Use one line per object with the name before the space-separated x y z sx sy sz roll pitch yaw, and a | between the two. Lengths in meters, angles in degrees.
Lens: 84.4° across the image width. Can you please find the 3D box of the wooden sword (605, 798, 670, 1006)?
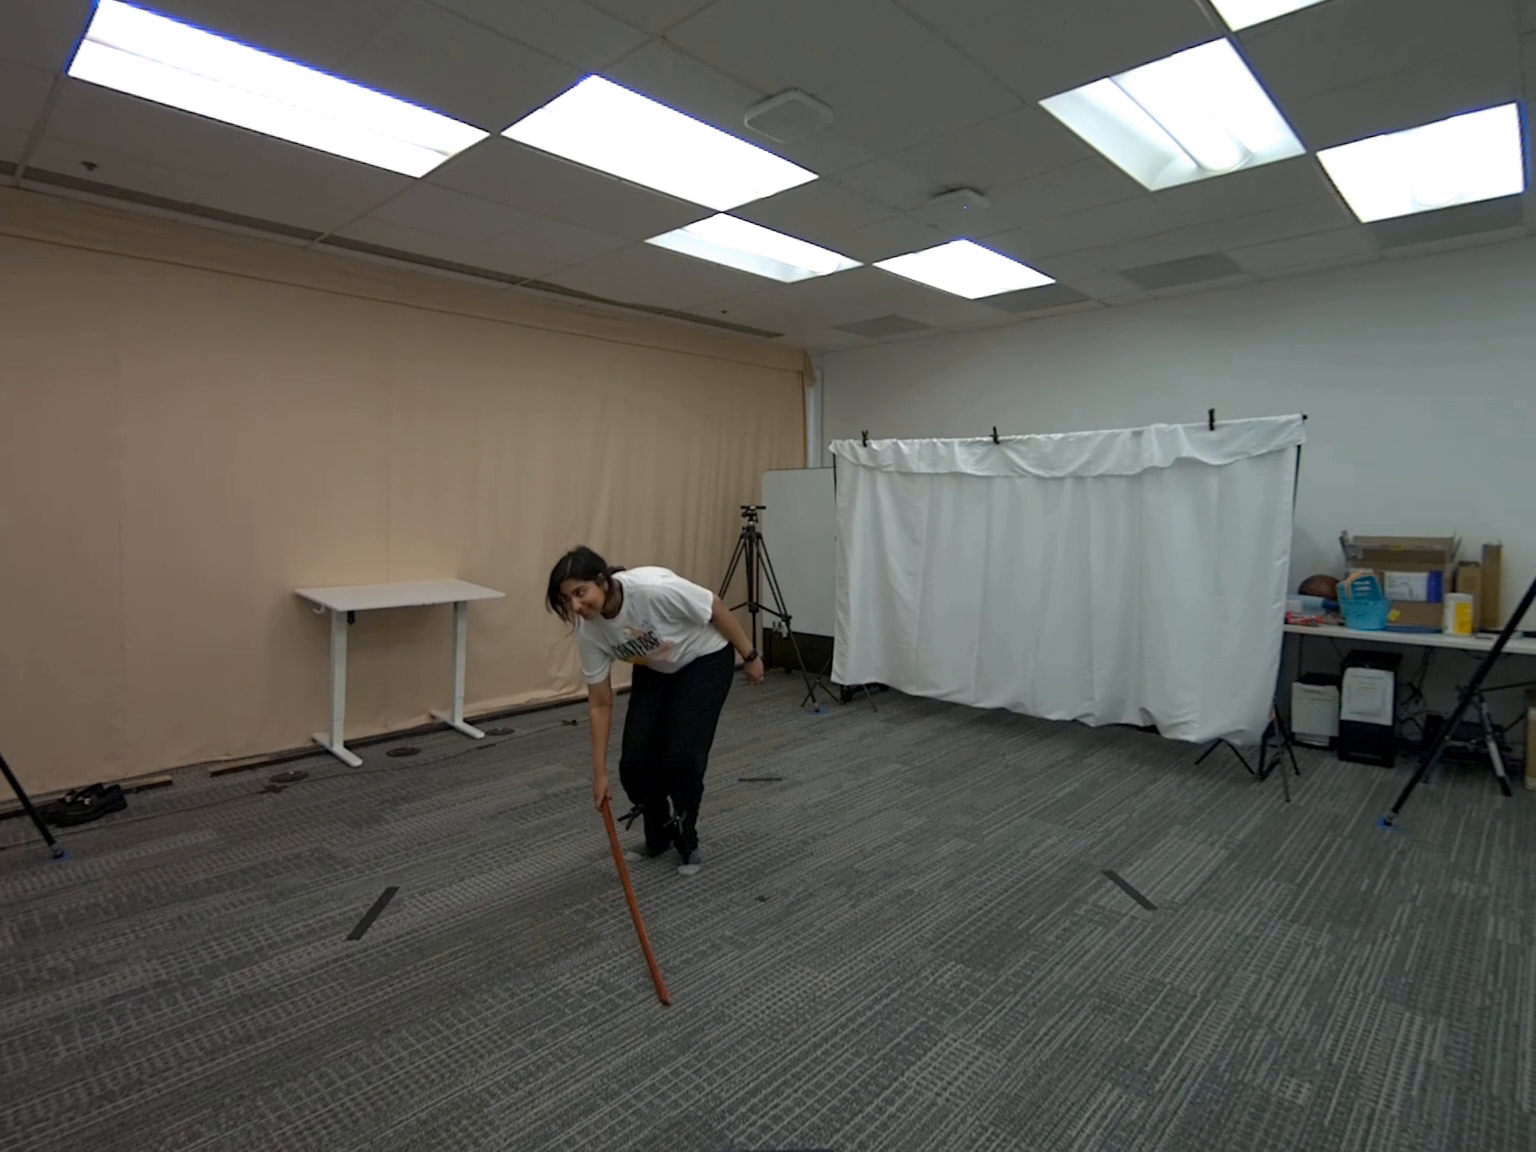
wooden sword | -0.427 1.026 2.797 0.023 0.051 1.051 37 6 -25
